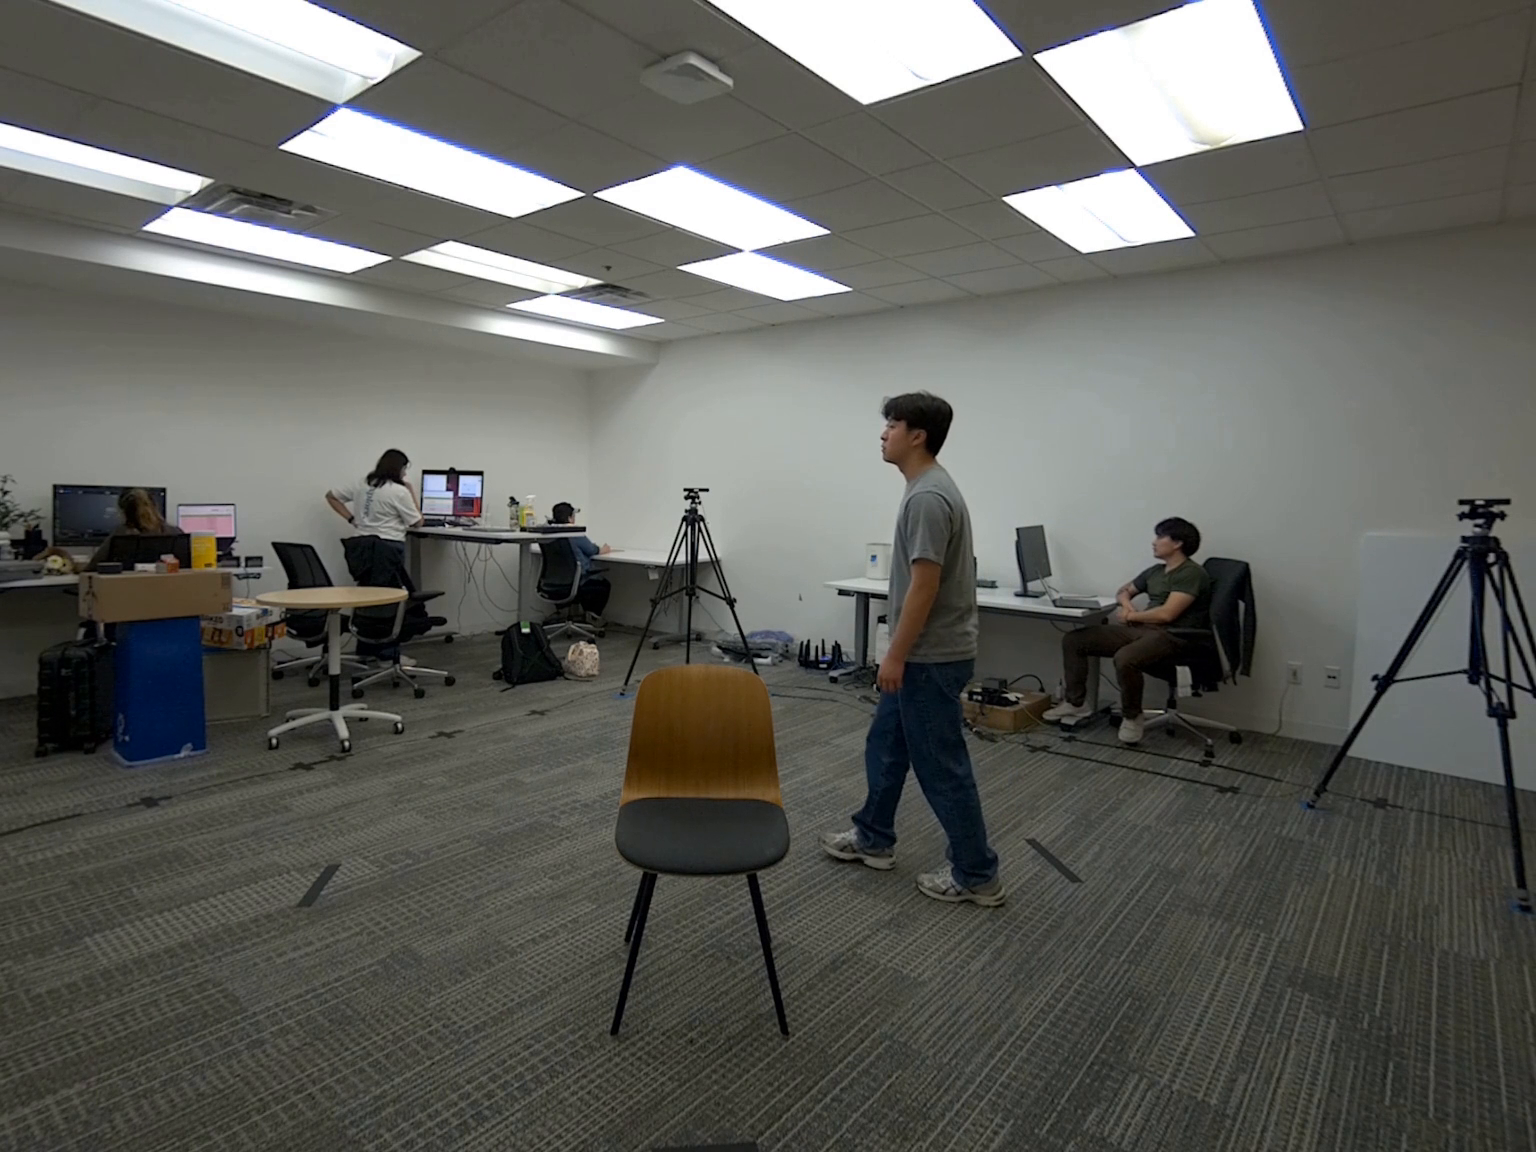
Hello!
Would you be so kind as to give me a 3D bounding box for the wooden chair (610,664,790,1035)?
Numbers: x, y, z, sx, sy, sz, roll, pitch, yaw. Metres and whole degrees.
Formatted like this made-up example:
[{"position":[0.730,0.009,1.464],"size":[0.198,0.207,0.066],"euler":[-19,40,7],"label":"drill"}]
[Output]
[{"position":[-0.184,0.721,2.347],"size":[0.476,0.877,0.525],"euler":[1,0,-5],"label":"wooden chair"}]
